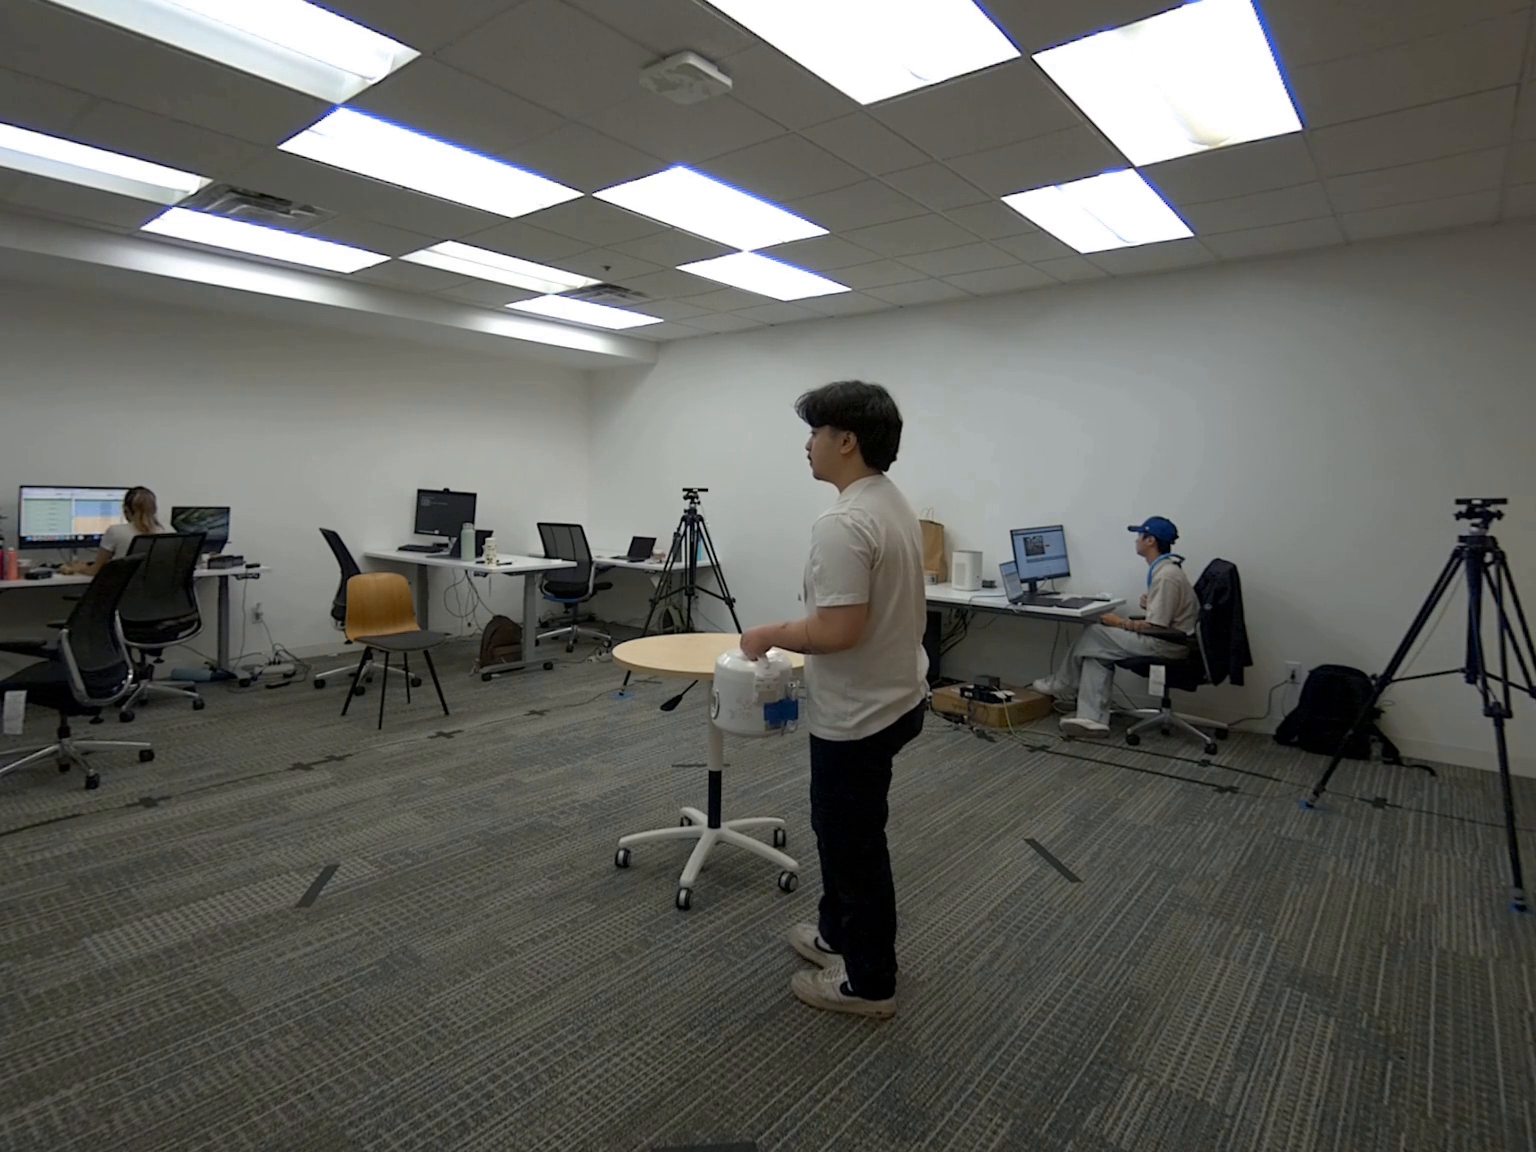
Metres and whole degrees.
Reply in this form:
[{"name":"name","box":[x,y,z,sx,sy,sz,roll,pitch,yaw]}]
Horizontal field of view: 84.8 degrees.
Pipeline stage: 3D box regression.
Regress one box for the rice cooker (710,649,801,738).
[{"name":"rice cooker","box":[-0.048,0.300,2.302,0.213,0.231,0.226,0,8,-19]}]
